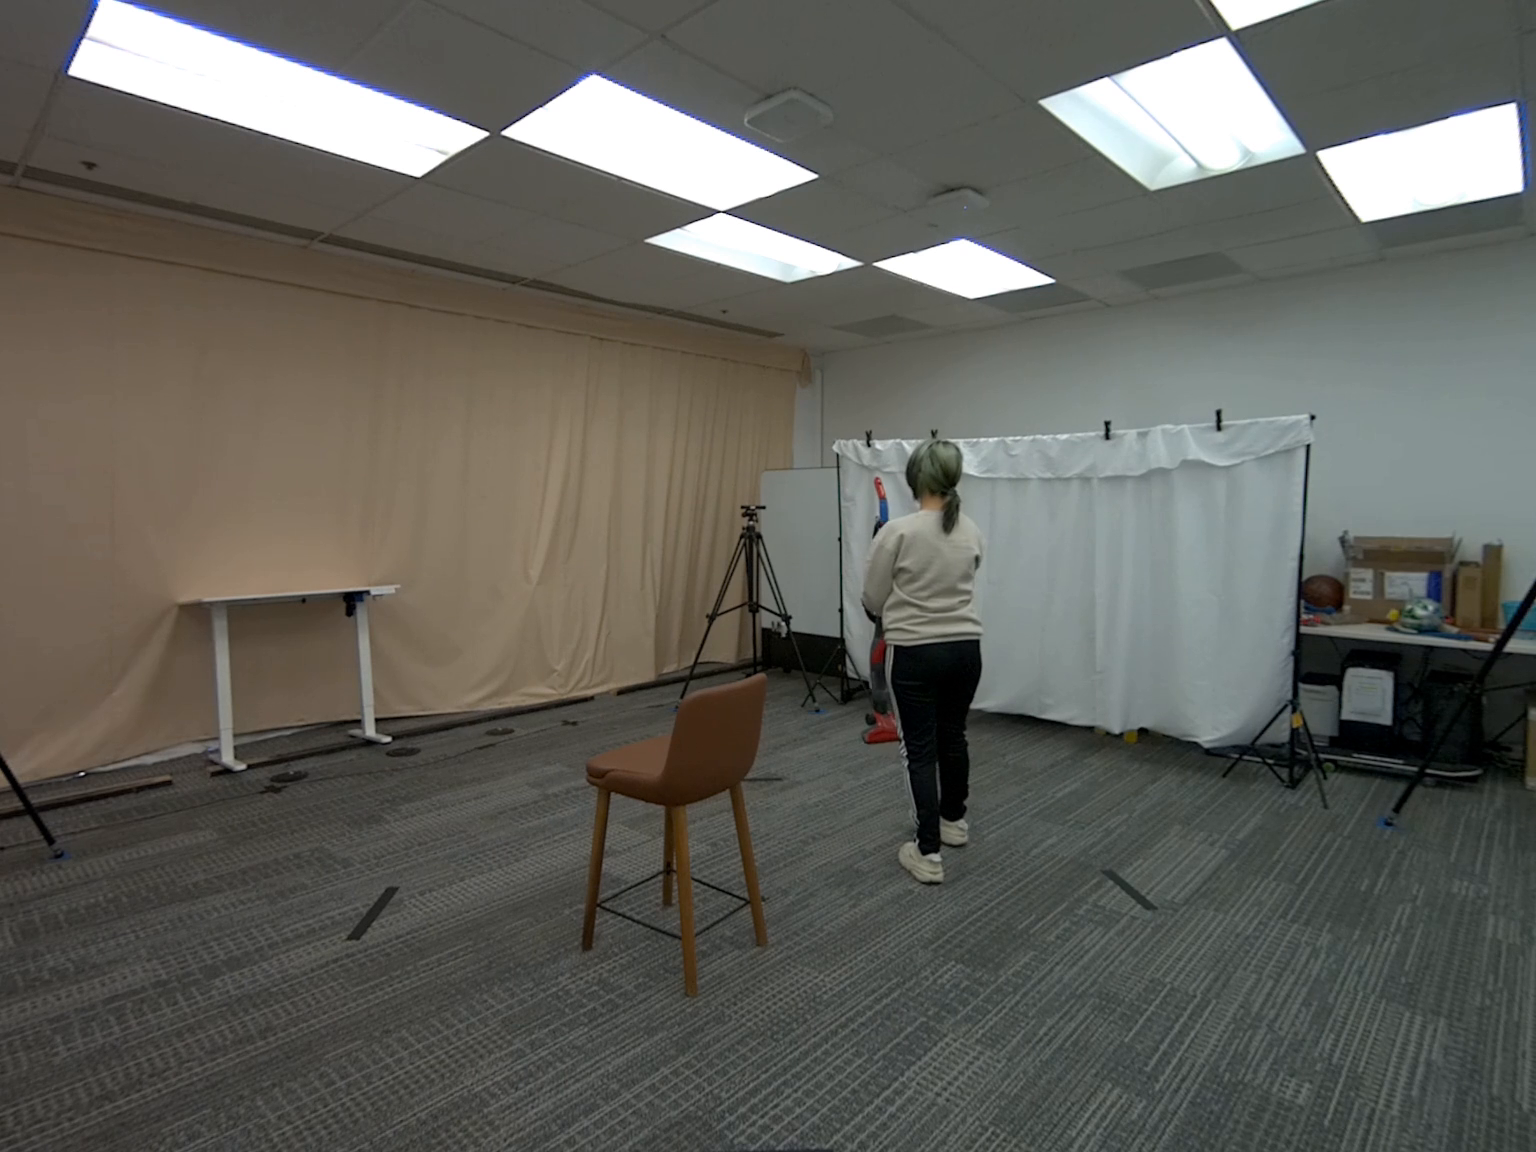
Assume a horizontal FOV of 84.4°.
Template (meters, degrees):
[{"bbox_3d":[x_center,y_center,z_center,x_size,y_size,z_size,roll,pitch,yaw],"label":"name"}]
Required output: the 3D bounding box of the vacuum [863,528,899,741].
[{"bbox_3d":[0.485,0.110,3.573,0.249,1.051,0.145,-2,-3,-13],"label":"vacuum"}]
